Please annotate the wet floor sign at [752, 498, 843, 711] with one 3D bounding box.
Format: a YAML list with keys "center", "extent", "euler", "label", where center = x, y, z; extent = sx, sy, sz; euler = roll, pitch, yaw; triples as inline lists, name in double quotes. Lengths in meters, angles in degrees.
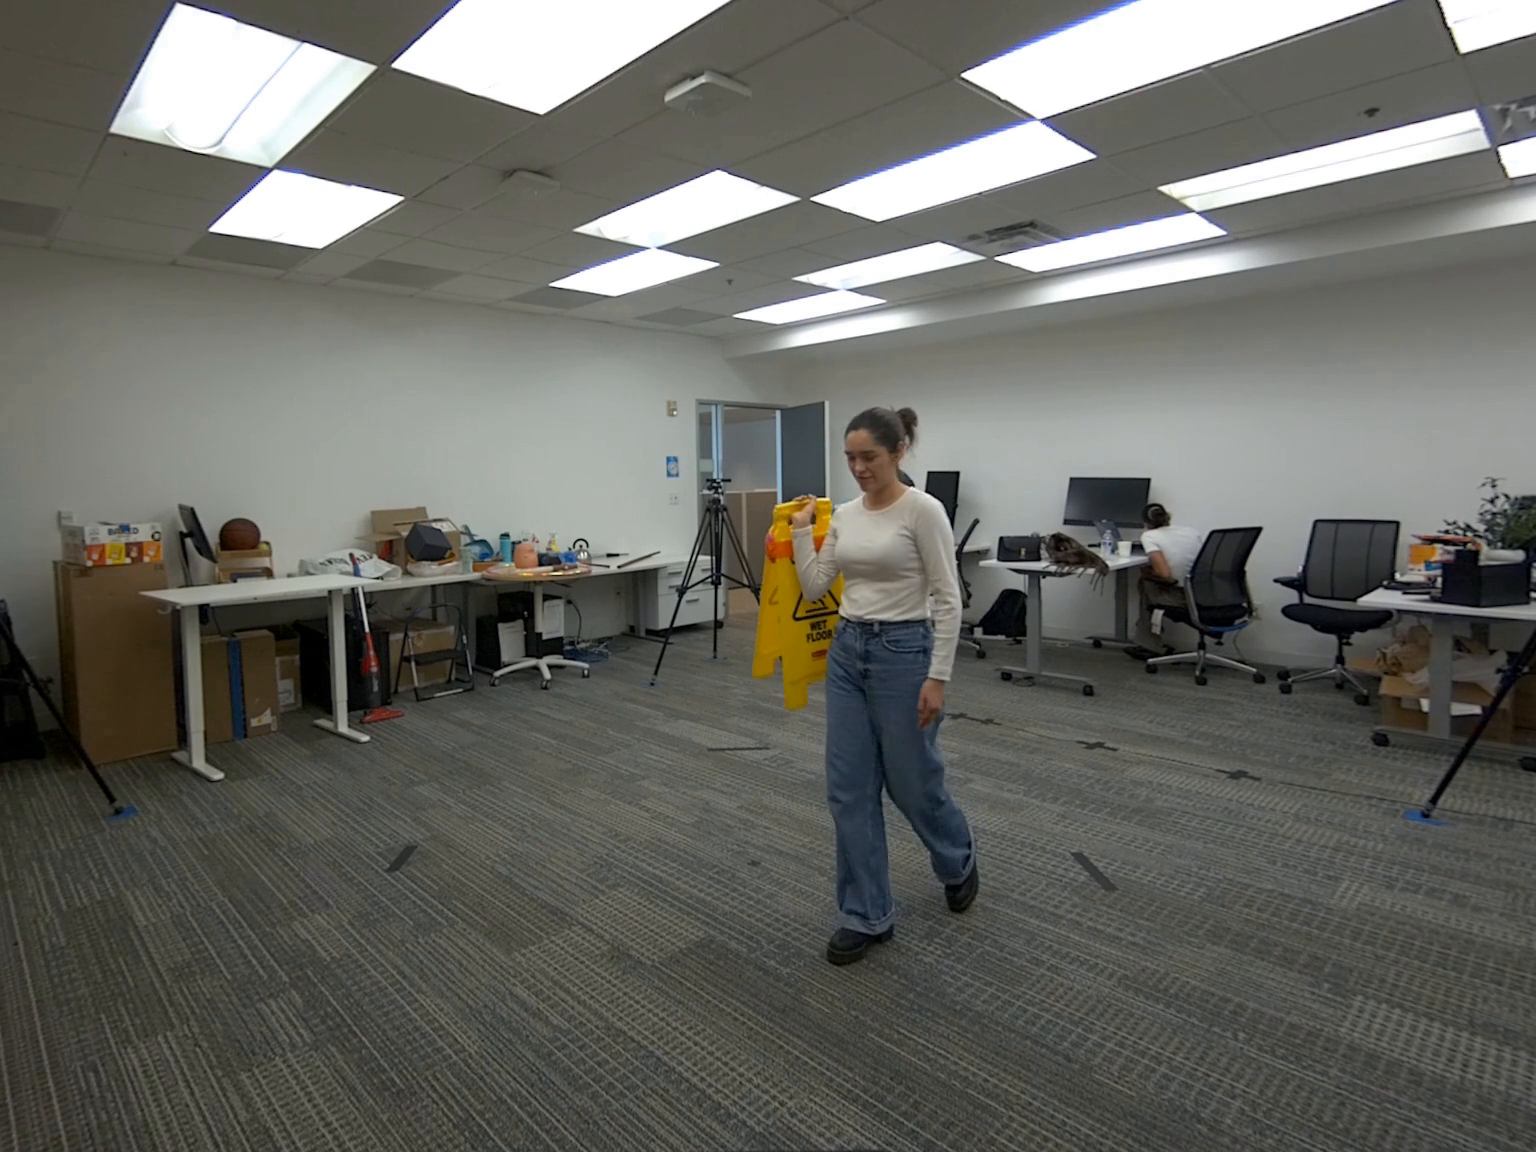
- center: [0.122, 0.065, 2.828]
  extent: [0.277, 0.636, 0.299]
  euler: [-9, 18, -22]
  label: "wet floor sign"
